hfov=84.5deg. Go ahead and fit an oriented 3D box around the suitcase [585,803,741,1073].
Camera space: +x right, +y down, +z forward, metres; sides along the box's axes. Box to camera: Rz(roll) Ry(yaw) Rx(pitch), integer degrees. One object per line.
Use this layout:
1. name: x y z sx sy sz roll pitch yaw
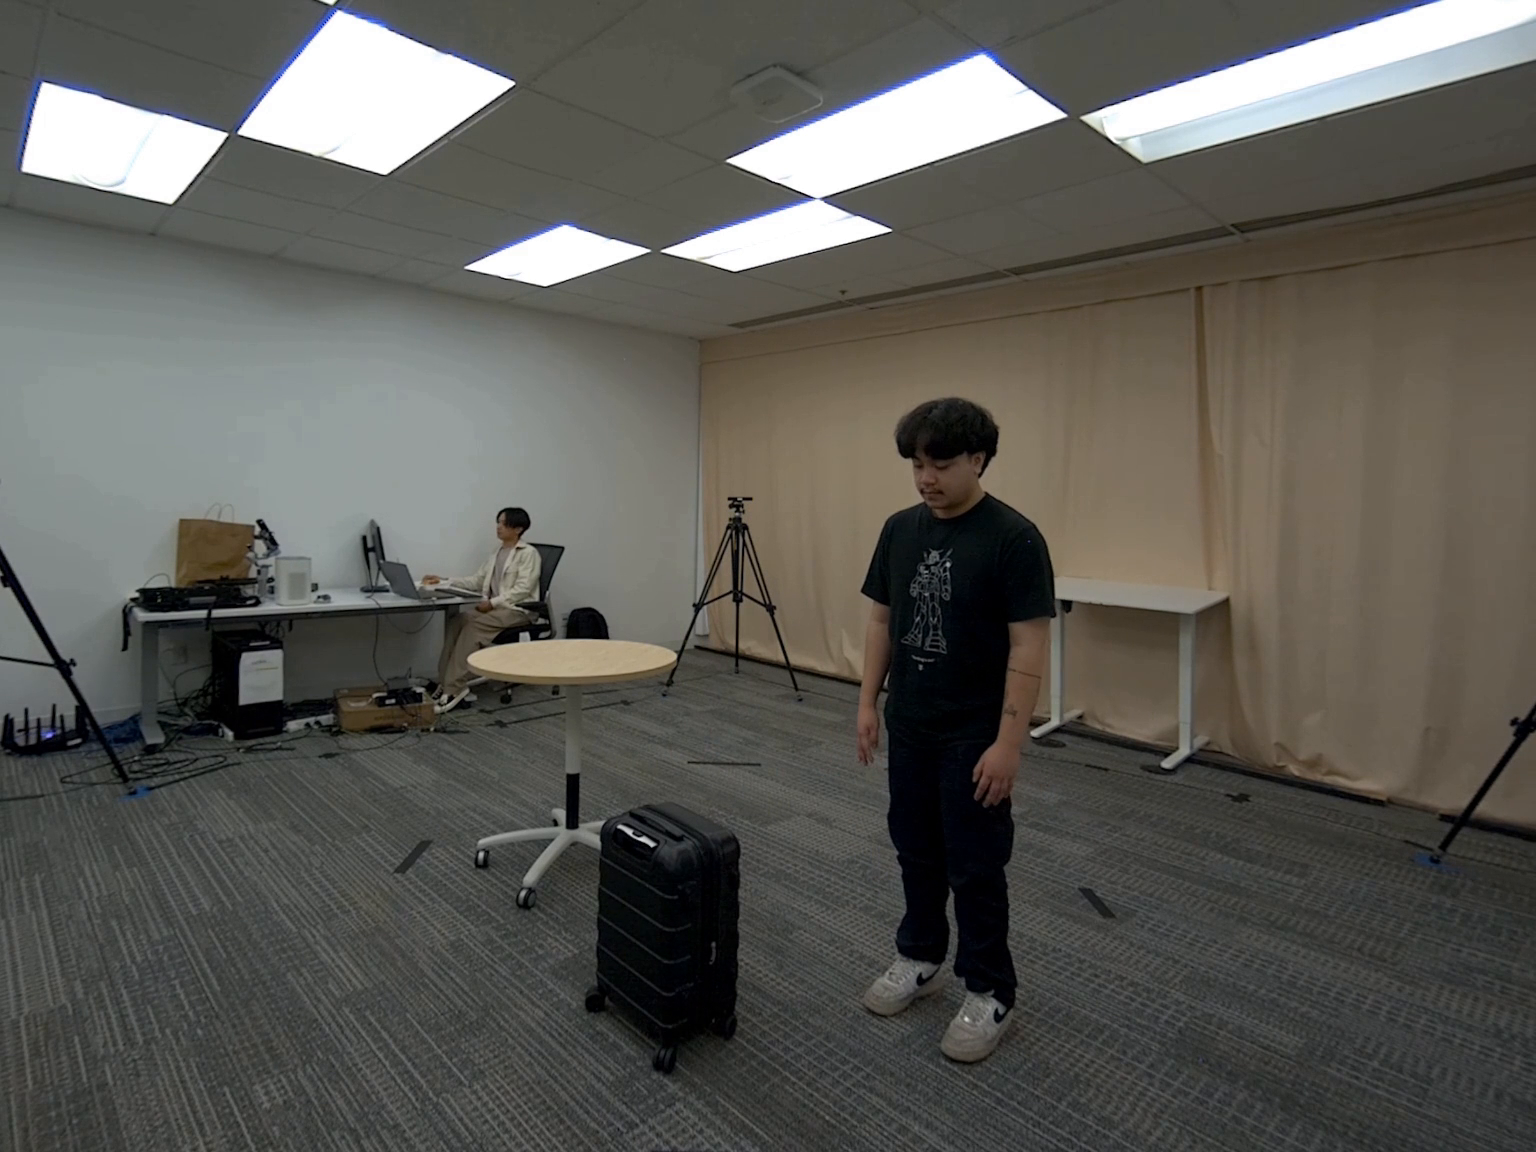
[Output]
1. suitcase: -0.266 0.910 2.226 0.242 0.548 0.385 1 3 -44
